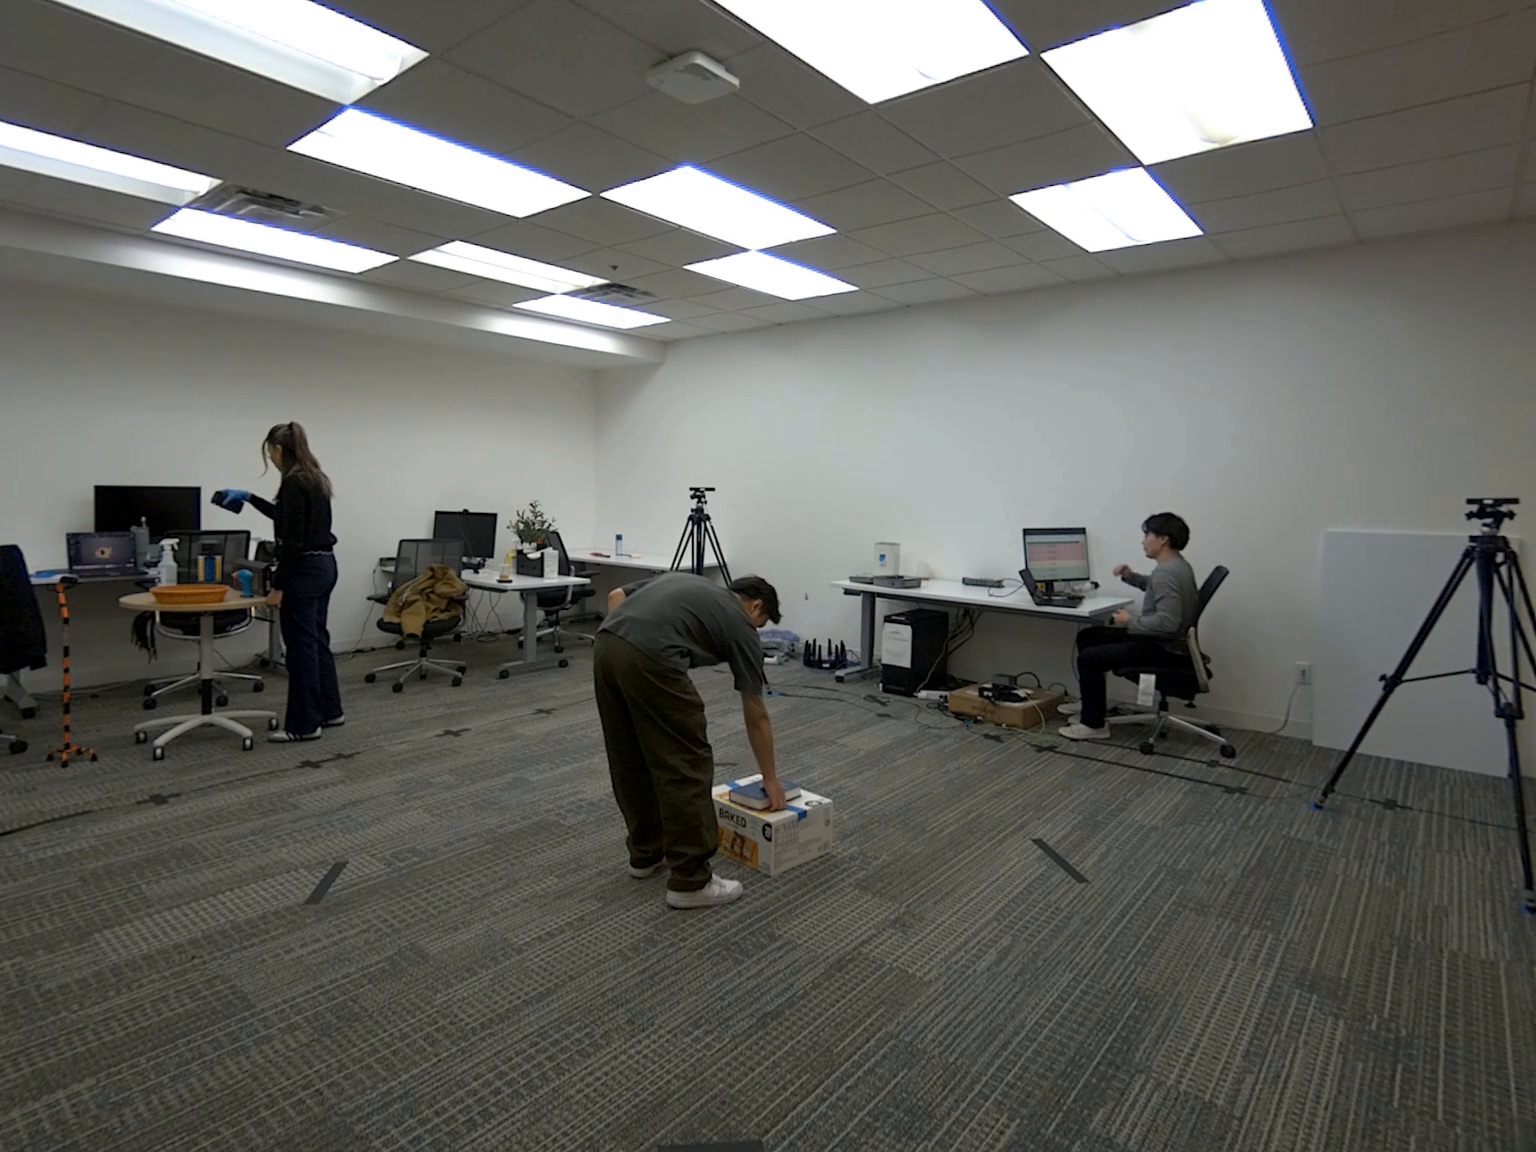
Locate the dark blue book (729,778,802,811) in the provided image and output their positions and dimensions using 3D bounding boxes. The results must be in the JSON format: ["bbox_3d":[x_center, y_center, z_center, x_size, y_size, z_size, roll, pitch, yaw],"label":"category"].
[{"bbox_3d":[-0.014,0.841,3.299,0.238,0.045,0.169,-5,6,-44],"label":"dark blue book"}]
